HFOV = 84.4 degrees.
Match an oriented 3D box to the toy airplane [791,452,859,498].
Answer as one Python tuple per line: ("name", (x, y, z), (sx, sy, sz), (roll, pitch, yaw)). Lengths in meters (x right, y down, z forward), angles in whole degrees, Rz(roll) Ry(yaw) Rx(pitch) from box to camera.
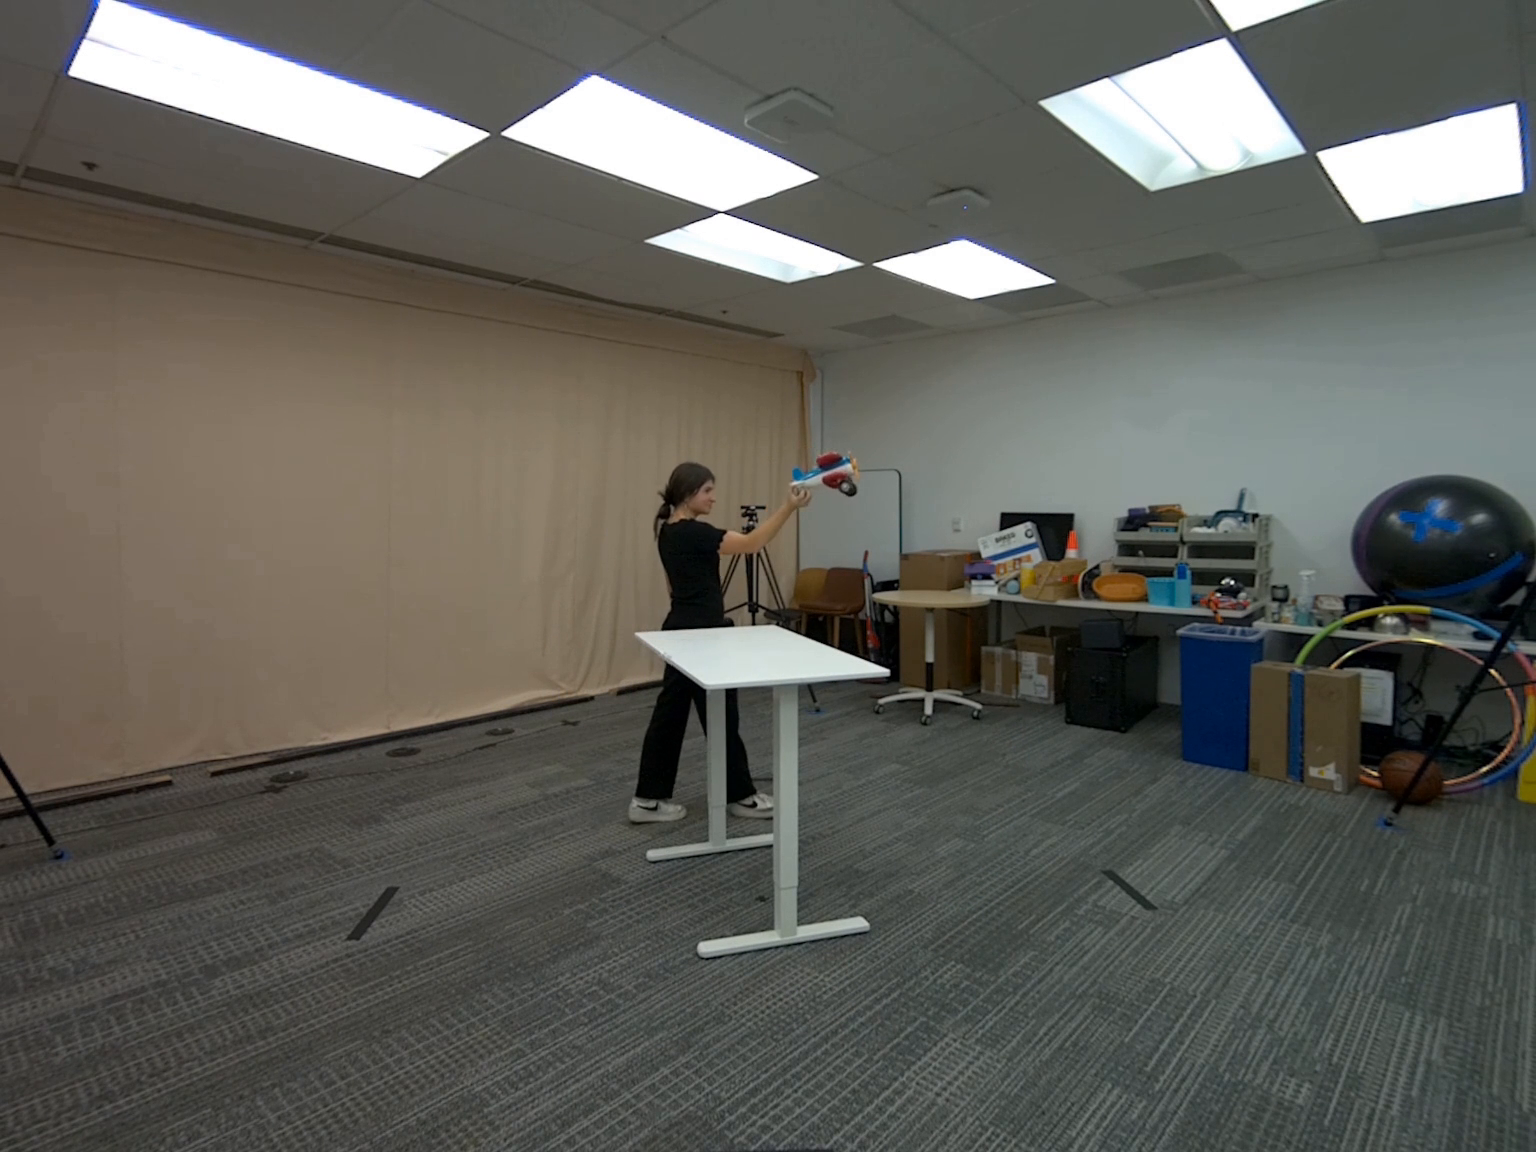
("toy airplane", (0.226, -0.388, 3.265), (0.257, 0.157, 0.252), (-2, -5, -10))
